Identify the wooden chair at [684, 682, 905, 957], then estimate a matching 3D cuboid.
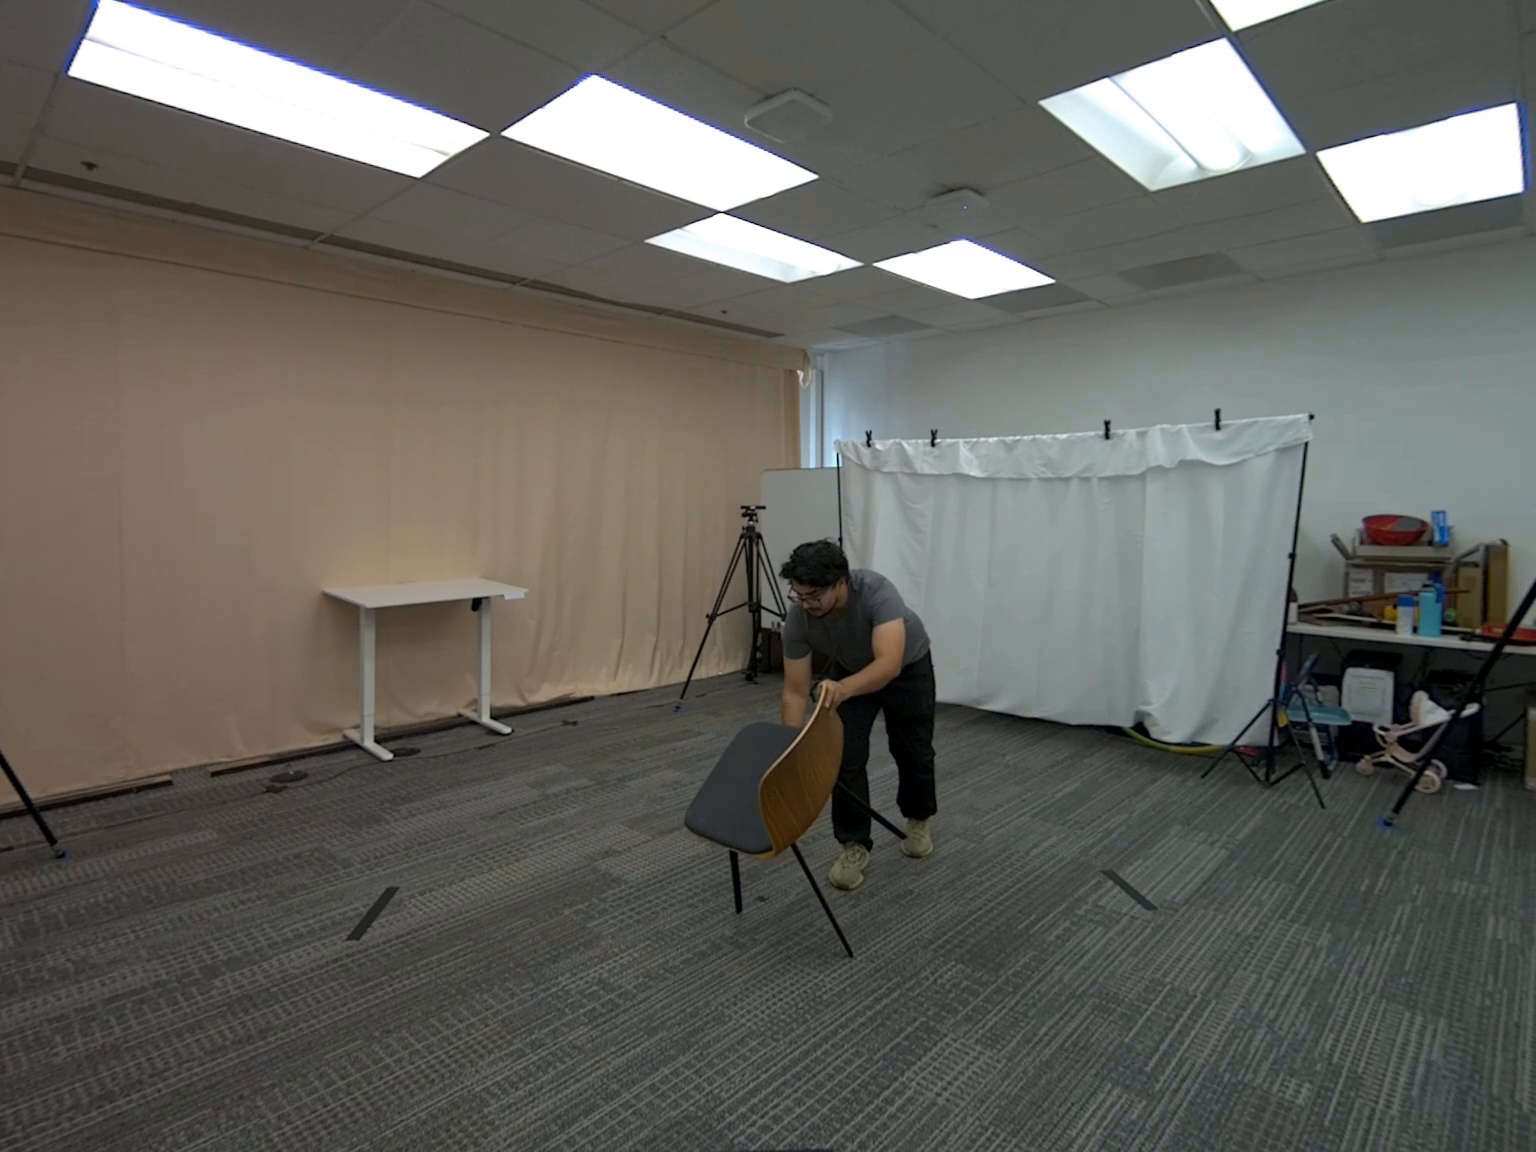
[{"bbox_3d":[0.024,0.699,2.658,0.540,0.853,0.476,8,45,35],"label":"wooden chair"}]
